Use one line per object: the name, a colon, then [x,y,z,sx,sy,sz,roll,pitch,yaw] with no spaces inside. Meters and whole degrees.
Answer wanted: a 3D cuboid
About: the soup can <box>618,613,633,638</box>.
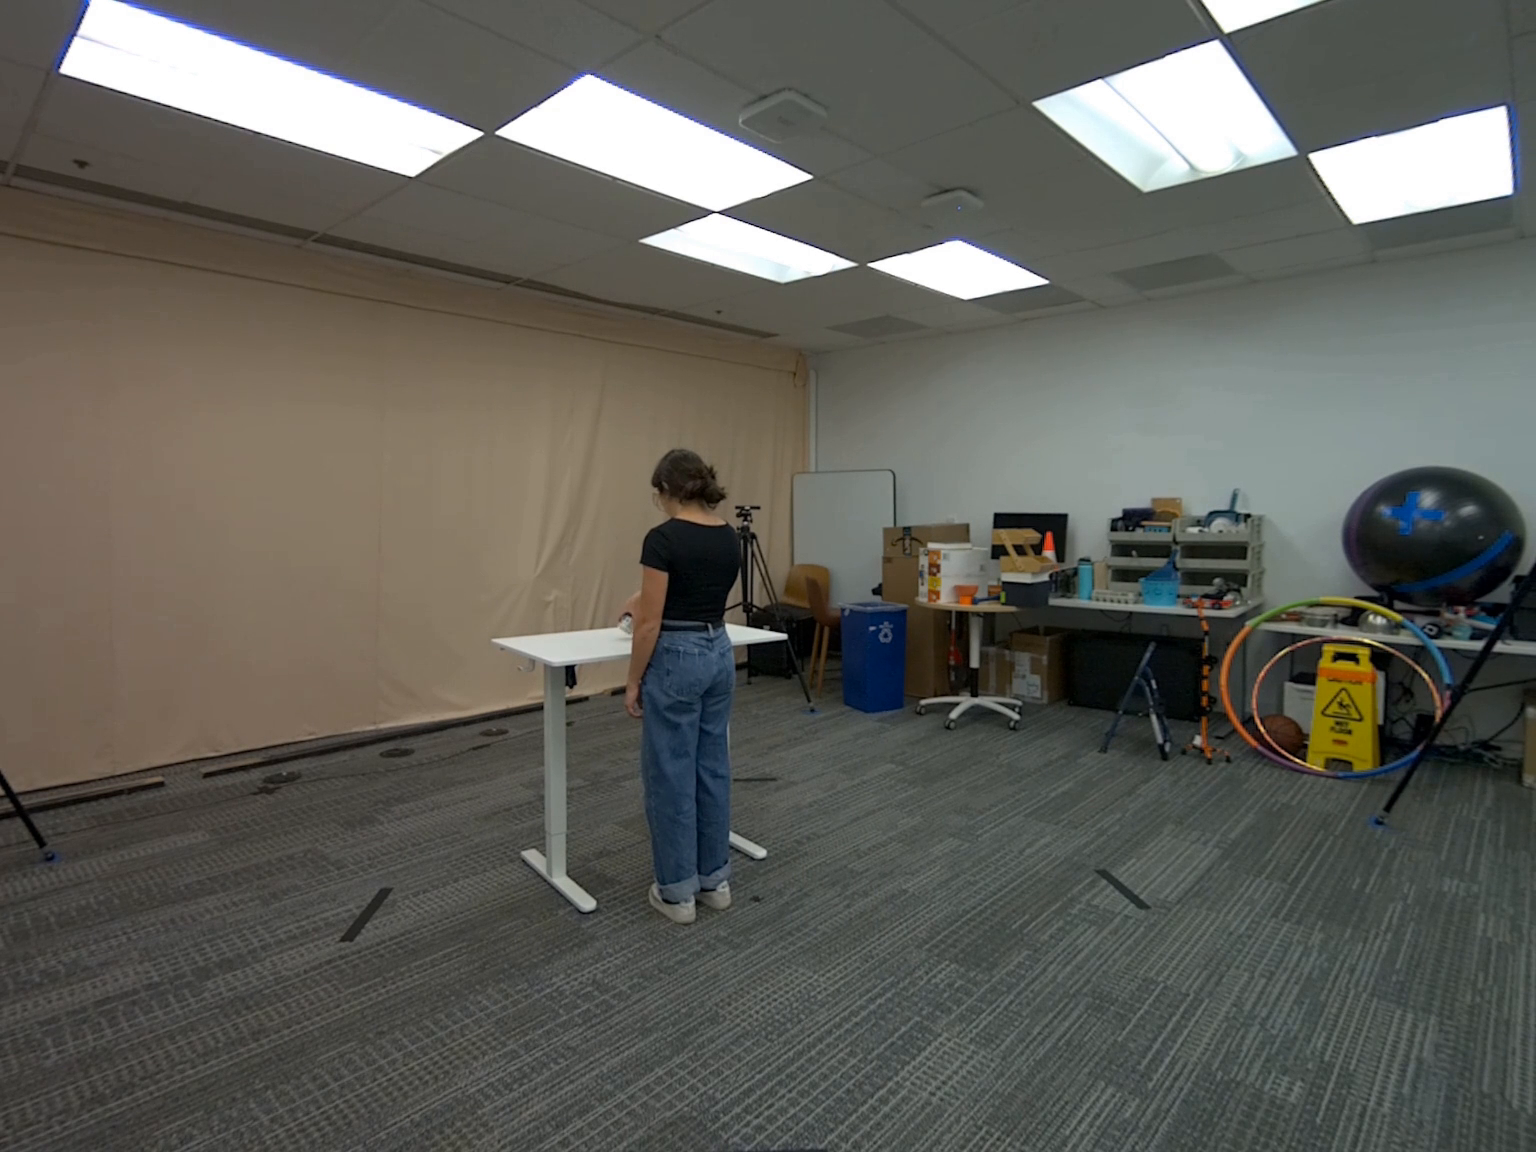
soup can: [-0.521,0.164,3.254,0.068,0.121,0.066,30,-15,7]
